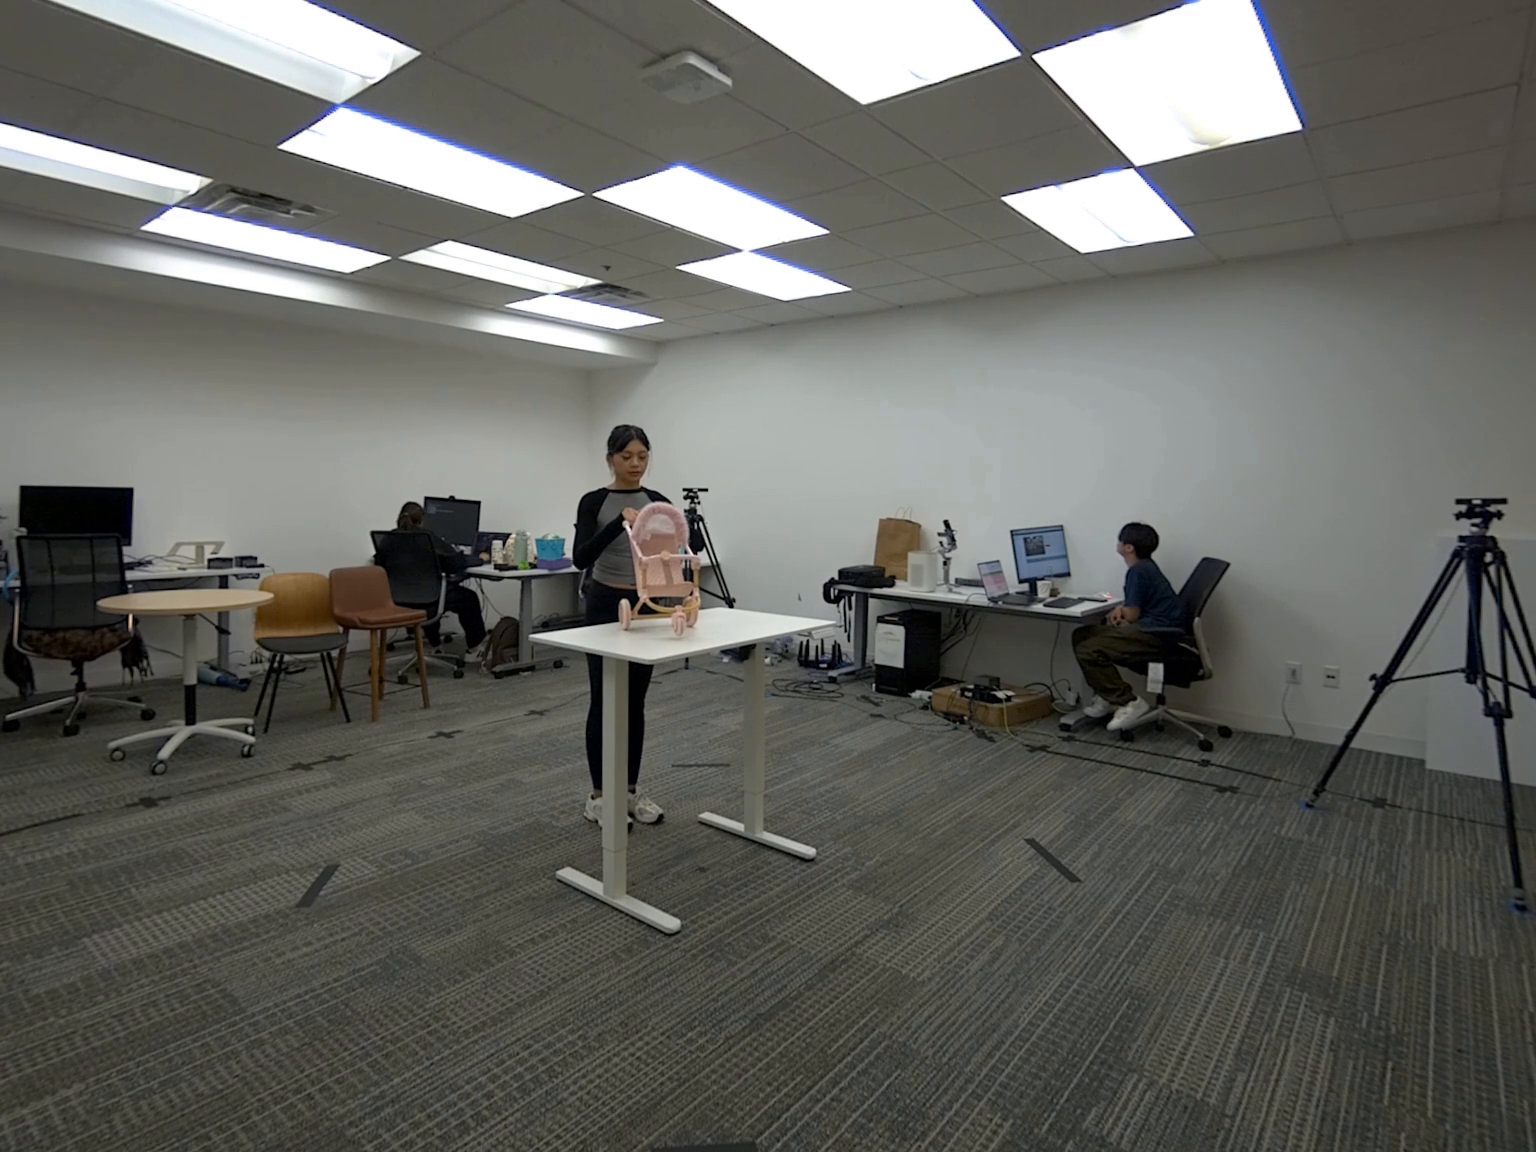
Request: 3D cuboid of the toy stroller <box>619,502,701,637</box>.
[{"bbox_3d":[-0.389,-0.031,3.031,0.276,0.543,0.342,-2,-15,-19],"label":"toy stroller"}]
